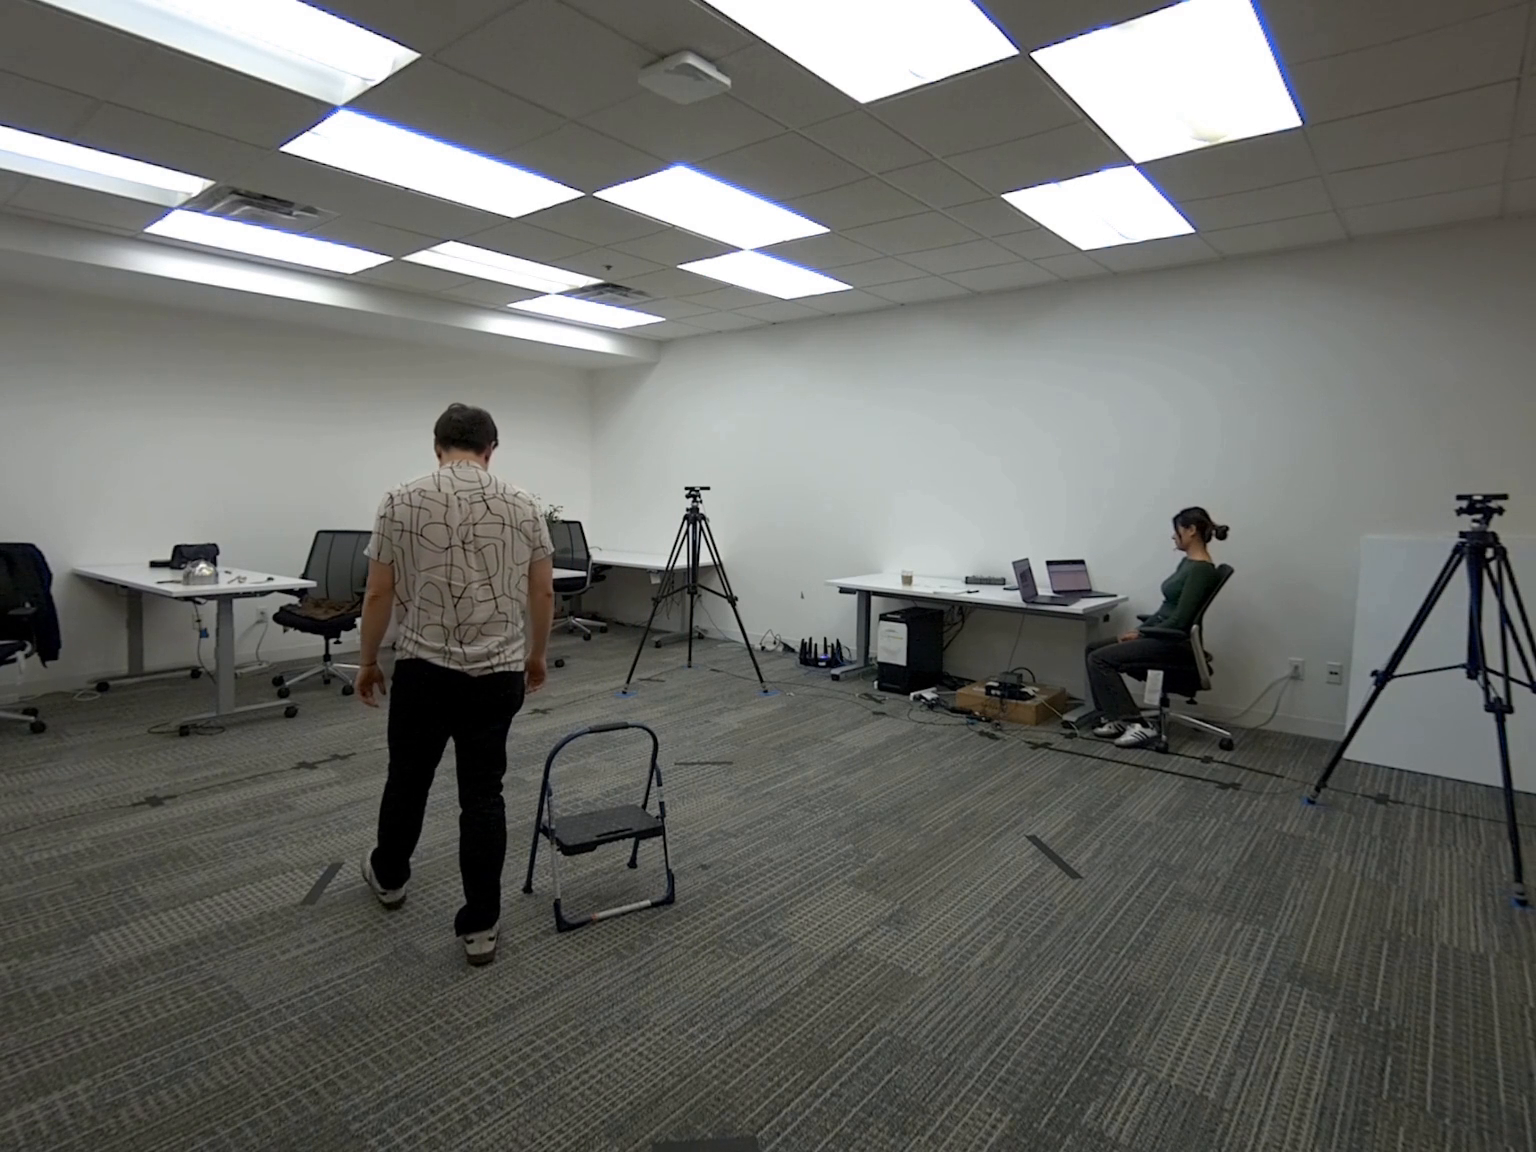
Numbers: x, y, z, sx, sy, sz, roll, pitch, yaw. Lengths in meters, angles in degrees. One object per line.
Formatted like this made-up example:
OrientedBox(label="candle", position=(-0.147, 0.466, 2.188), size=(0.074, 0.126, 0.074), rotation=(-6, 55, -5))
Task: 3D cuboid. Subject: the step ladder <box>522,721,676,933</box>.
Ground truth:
OrientedBox(label="step ladder", position=(-0.581, 0.781, 2.871), size=(0.419, 0.604, 0.360), rotation=(-2, 4, -33))
